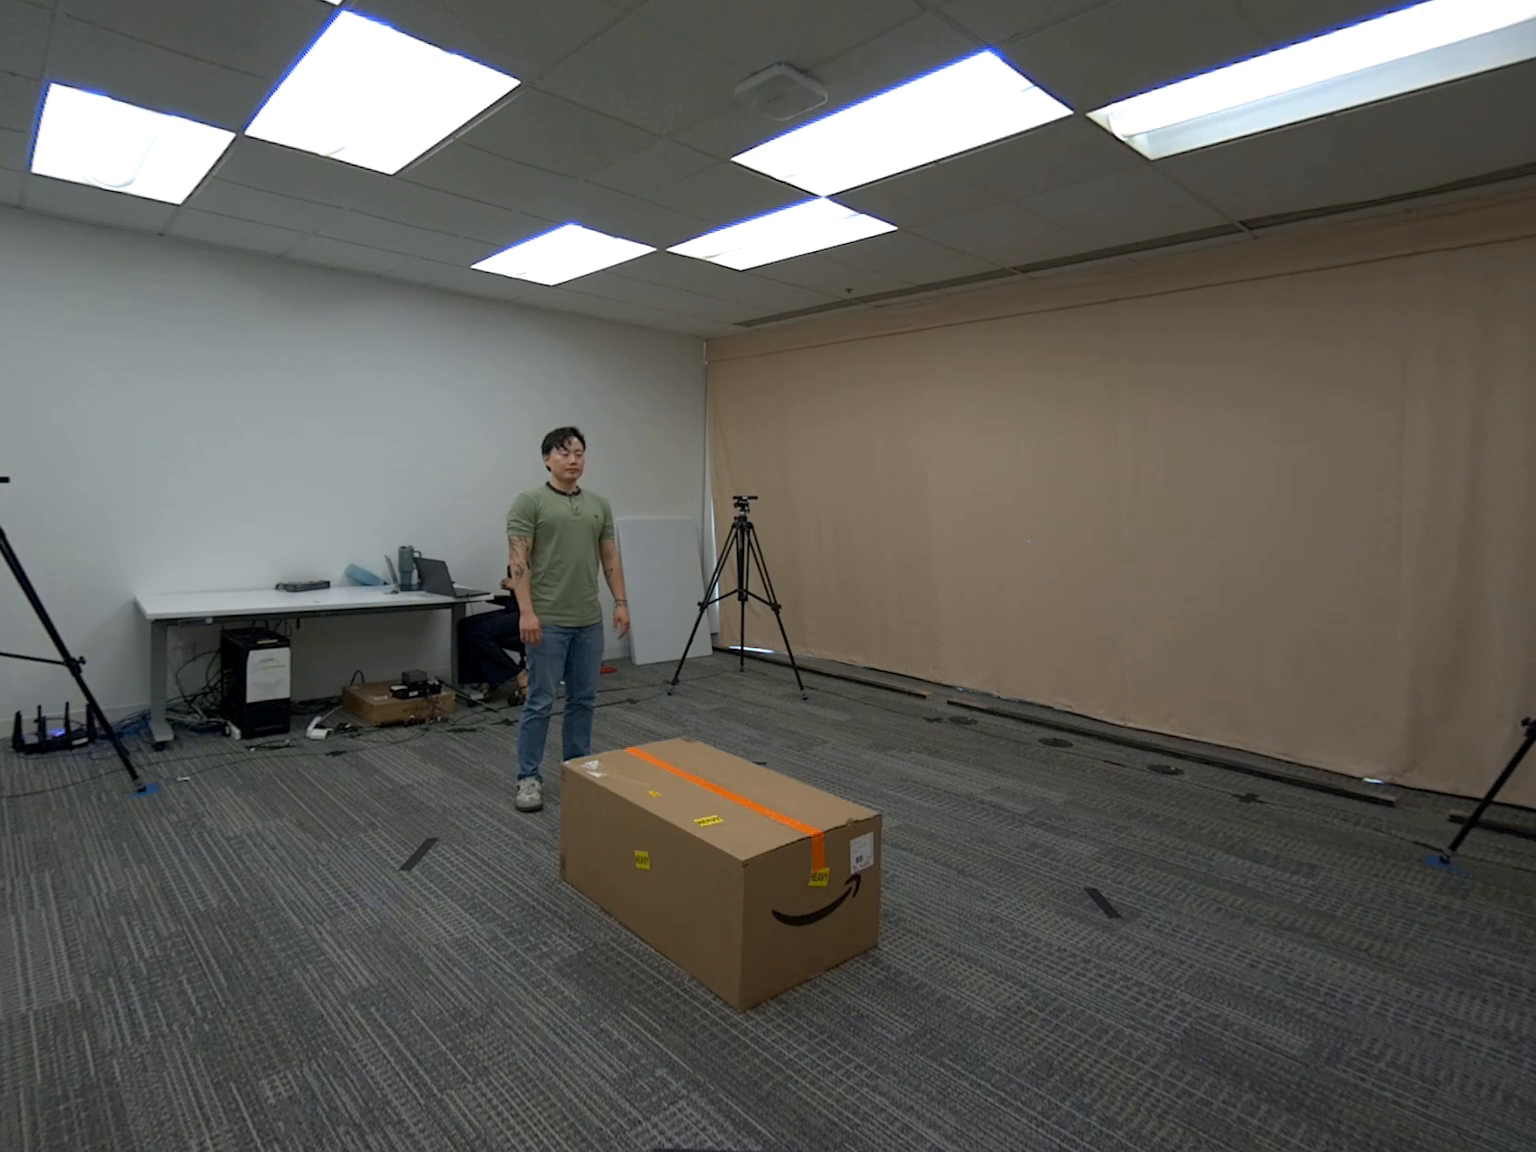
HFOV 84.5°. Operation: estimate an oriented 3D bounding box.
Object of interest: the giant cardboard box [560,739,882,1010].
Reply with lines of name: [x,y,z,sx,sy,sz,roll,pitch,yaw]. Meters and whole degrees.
giant cardboard box: [-0.205,0.915,2.829,0.564,0.425,1.052,-3,7,-41]
